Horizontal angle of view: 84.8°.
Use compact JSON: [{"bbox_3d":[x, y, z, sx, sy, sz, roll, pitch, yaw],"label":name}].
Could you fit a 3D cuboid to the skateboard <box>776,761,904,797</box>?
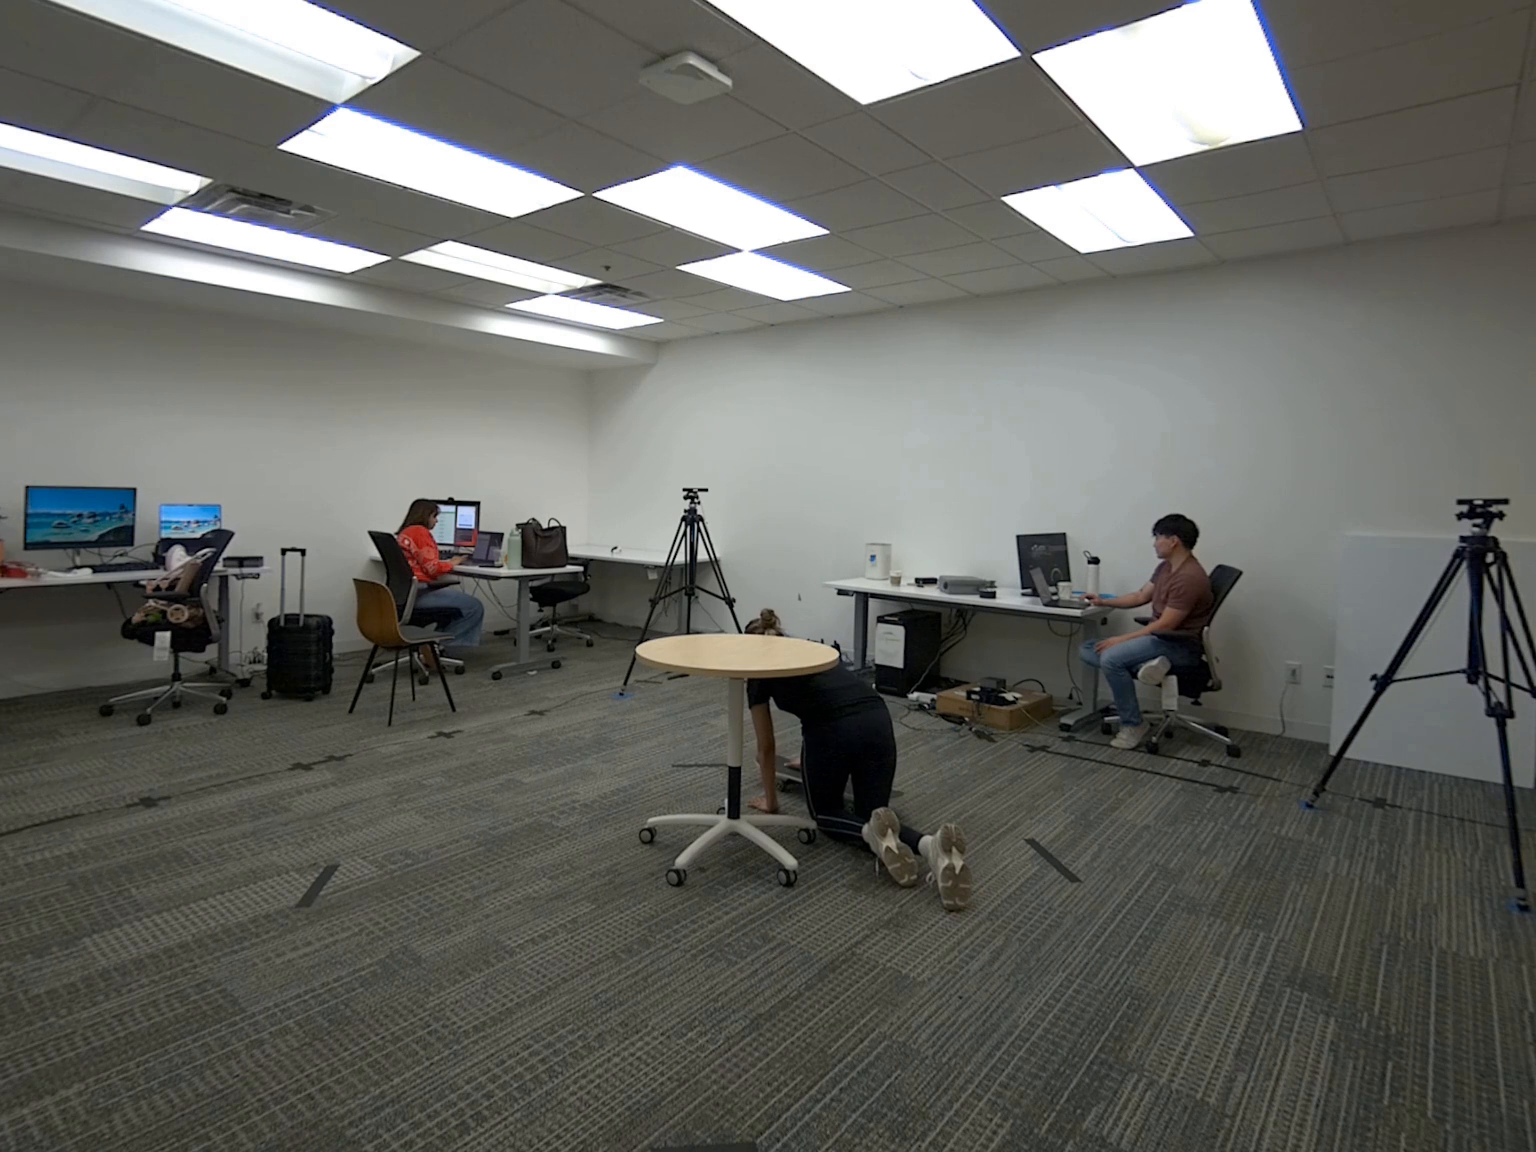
[{"bbox_3d":[0.250,0.945,3.867,0.812,0.110,0.188,6,7,42],"label":"skateboard"}]
